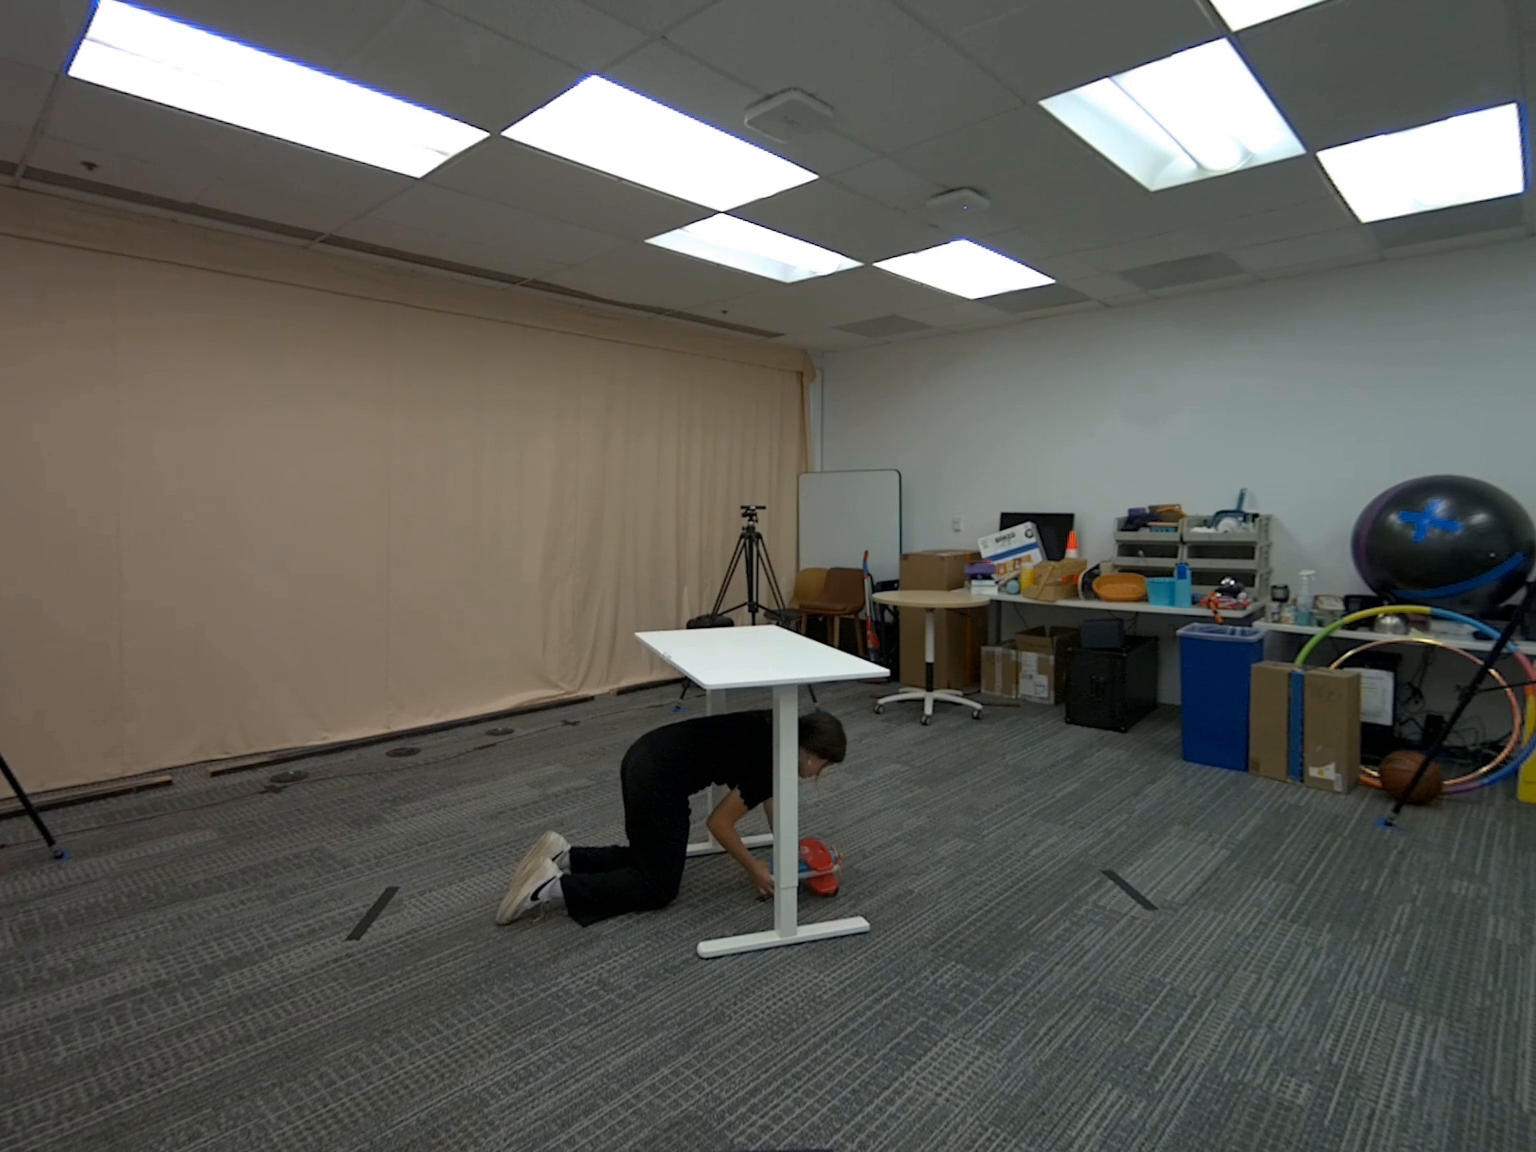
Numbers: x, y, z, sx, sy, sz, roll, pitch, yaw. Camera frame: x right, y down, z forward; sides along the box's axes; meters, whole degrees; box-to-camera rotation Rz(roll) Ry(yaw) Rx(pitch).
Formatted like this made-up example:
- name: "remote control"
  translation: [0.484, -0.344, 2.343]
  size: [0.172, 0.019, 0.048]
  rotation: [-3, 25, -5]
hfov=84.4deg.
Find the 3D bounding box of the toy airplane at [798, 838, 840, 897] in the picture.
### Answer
- name: "toy airplane"
  translation: [0.150, 1.060, 2.999]
  size: [0.251, 0.156, 0.260]
  rotation: [4, 4, -41]
